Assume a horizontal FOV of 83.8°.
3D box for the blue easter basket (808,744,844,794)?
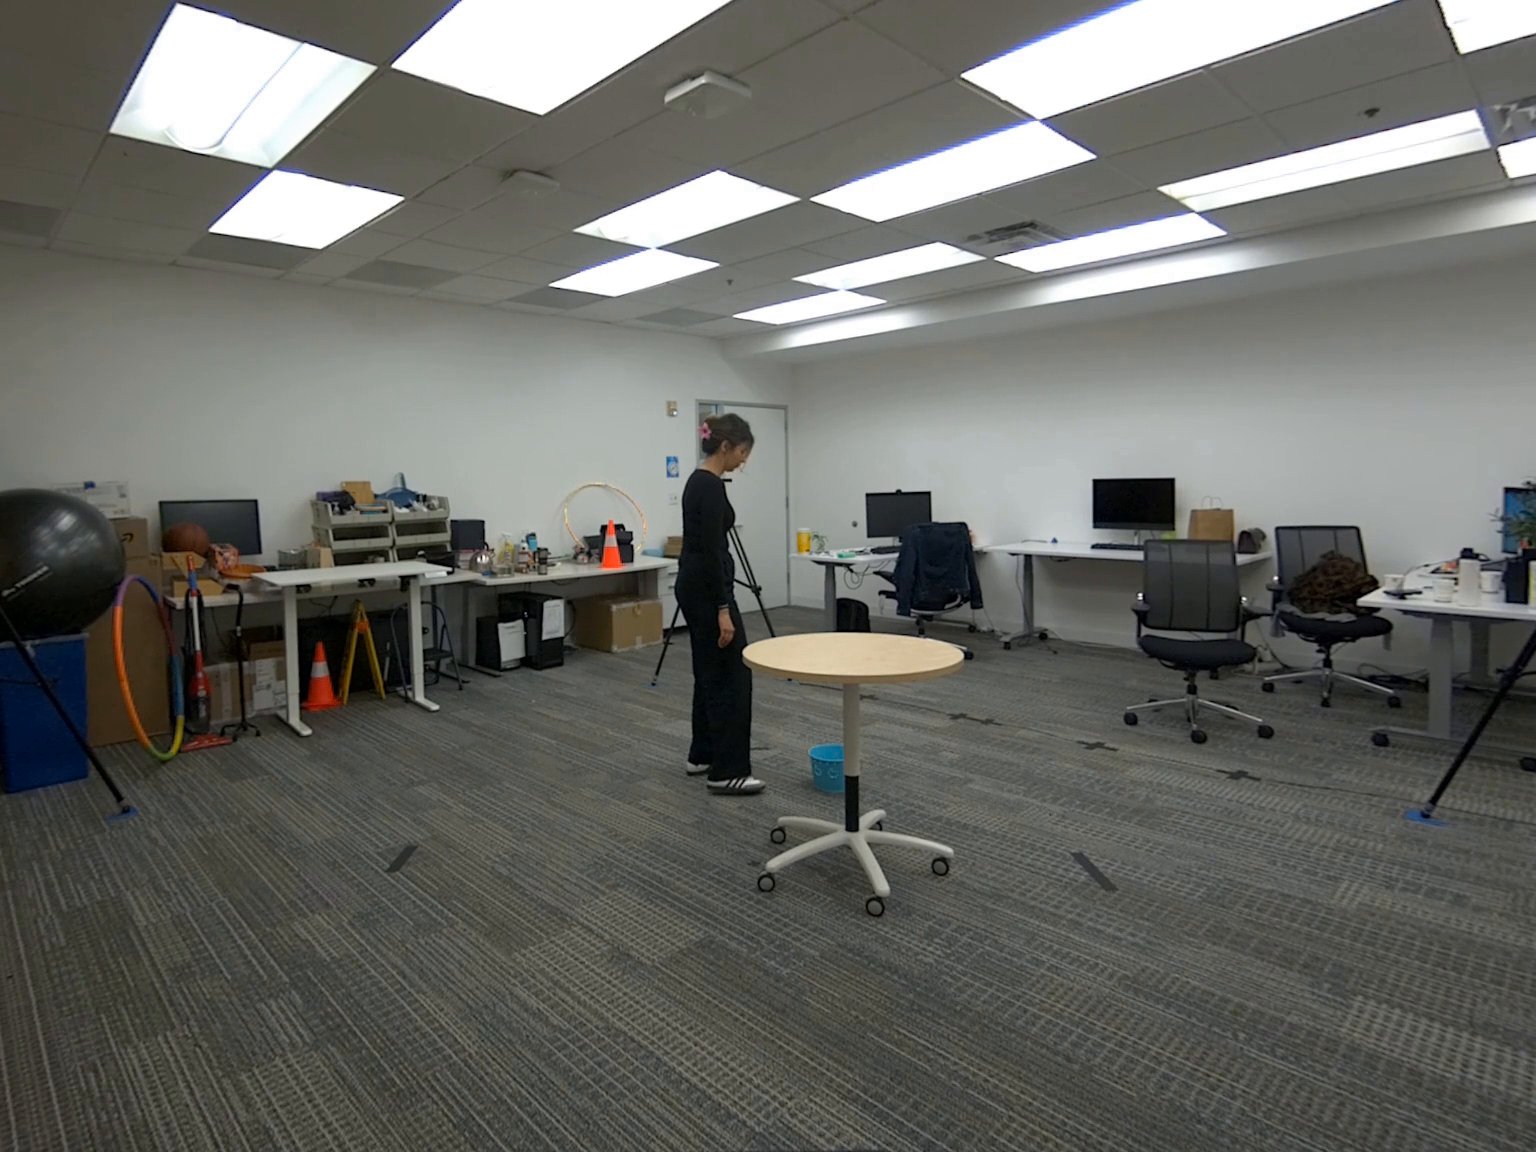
[{"bbox_3d":[0.305,0.871,3.882,0.243,0.155,0.245,-1,6,-2],"label":"blue easter basket"}]
